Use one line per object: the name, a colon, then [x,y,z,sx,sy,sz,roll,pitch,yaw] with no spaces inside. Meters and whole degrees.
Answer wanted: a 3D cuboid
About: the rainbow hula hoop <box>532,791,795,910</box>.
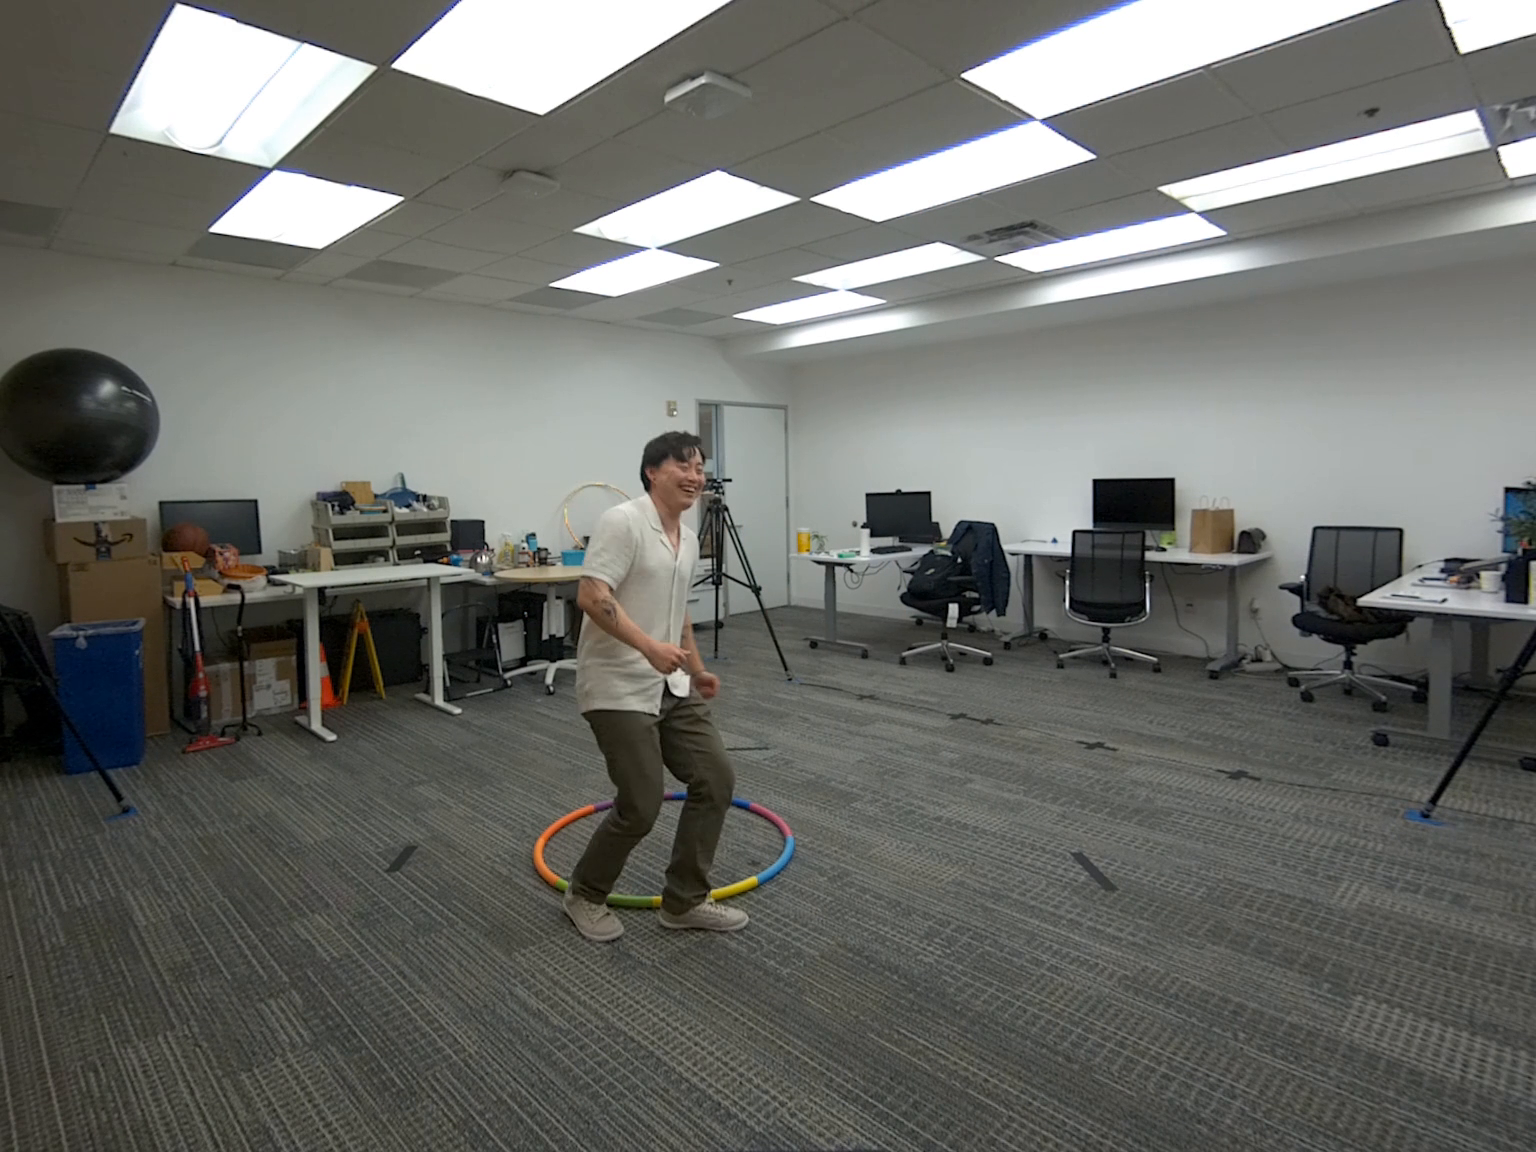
rainbow hula hoop: [-0.389,1.001,3.268,0.978,0.035,0.984,-1,6,-2]
